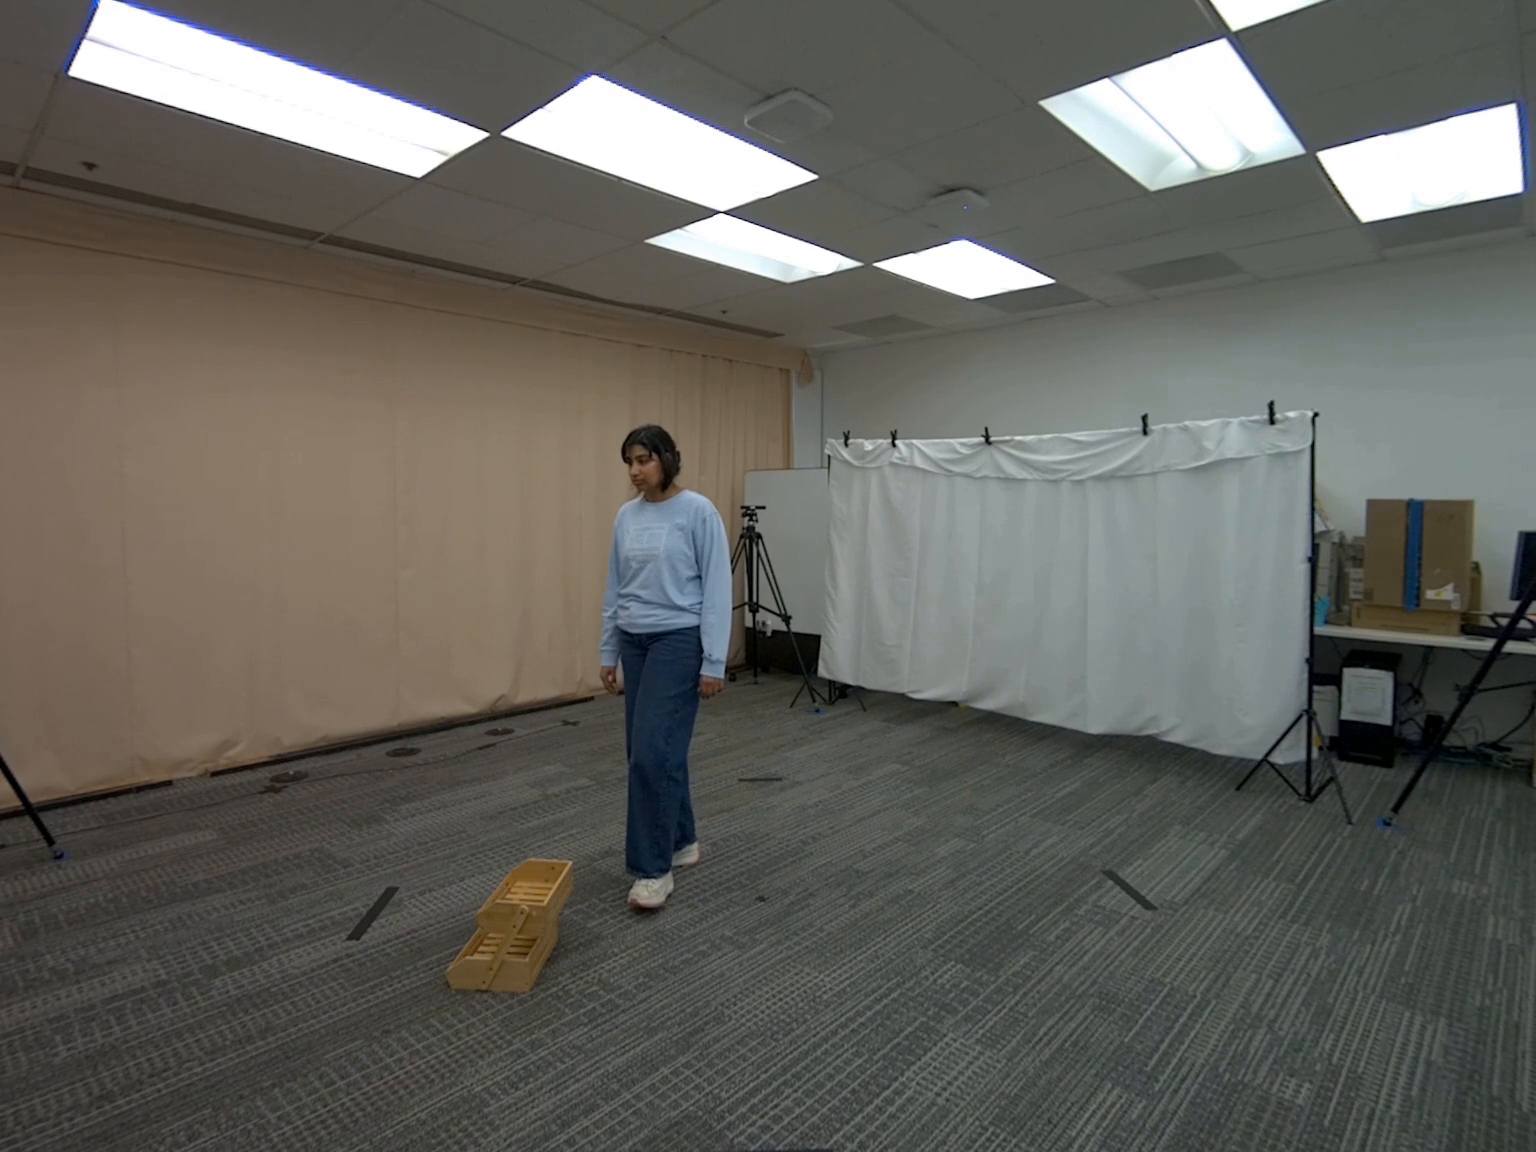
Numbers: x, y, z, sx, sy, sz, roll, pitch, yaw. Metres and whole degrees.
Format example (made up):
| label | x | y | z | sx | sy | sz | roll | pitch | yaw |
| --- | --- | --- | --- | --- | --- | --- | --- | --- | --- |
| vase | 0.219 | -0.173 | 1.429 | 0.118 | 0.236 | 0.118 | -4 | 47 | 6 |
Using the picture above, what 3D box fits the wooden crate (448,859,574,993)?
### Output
| label | x | y | z | sx | sy | sz | roll | pitch | yaw |
| --- | --- | --- | --- | --- | --- | --- | --- | --- | --- |
| wooden crate | -0.790 | 1.057 | 2.560 | 0.304 | 0.273 | 0.323 | 1 | 4 | 4 |
